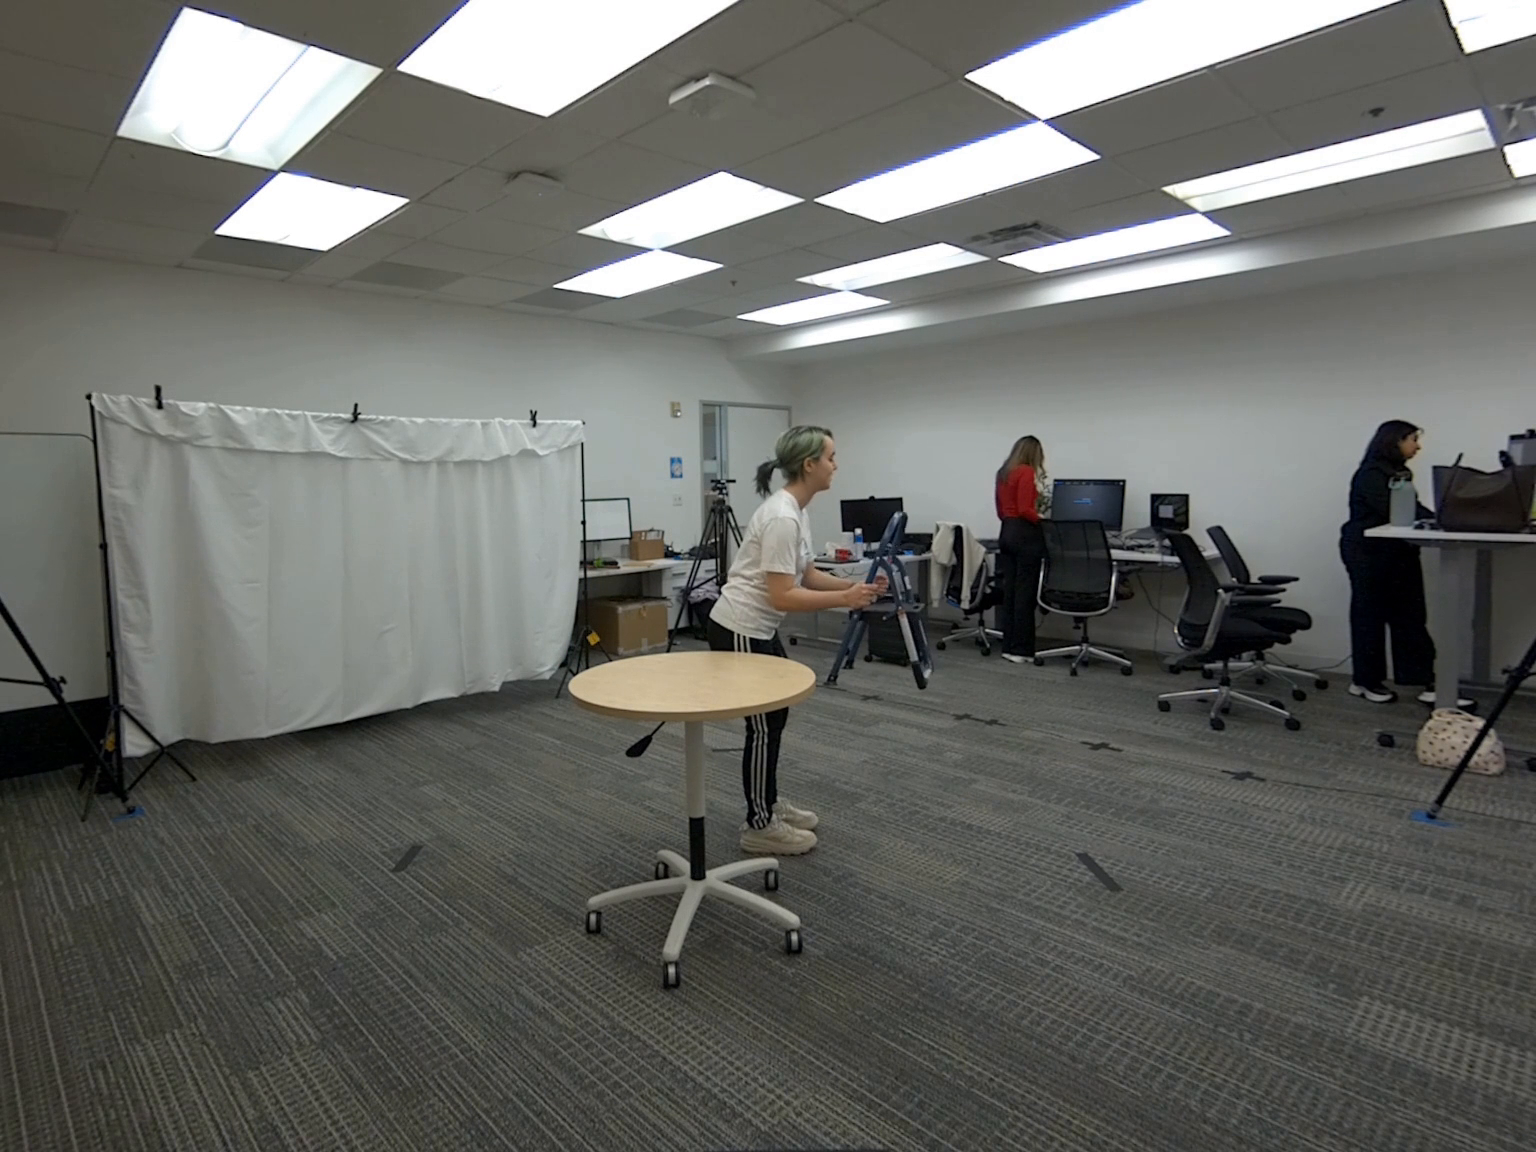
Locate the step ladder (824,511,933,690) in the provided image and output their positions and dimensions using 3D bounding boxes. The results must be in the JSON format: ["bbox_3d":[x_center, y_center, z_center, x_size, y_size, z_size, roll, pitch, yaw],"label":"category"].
[{"bbox_3d":[0.410,0.075,3.114,0.355,0.606,0.424,0,1,15],"label":"step ladder"}]
